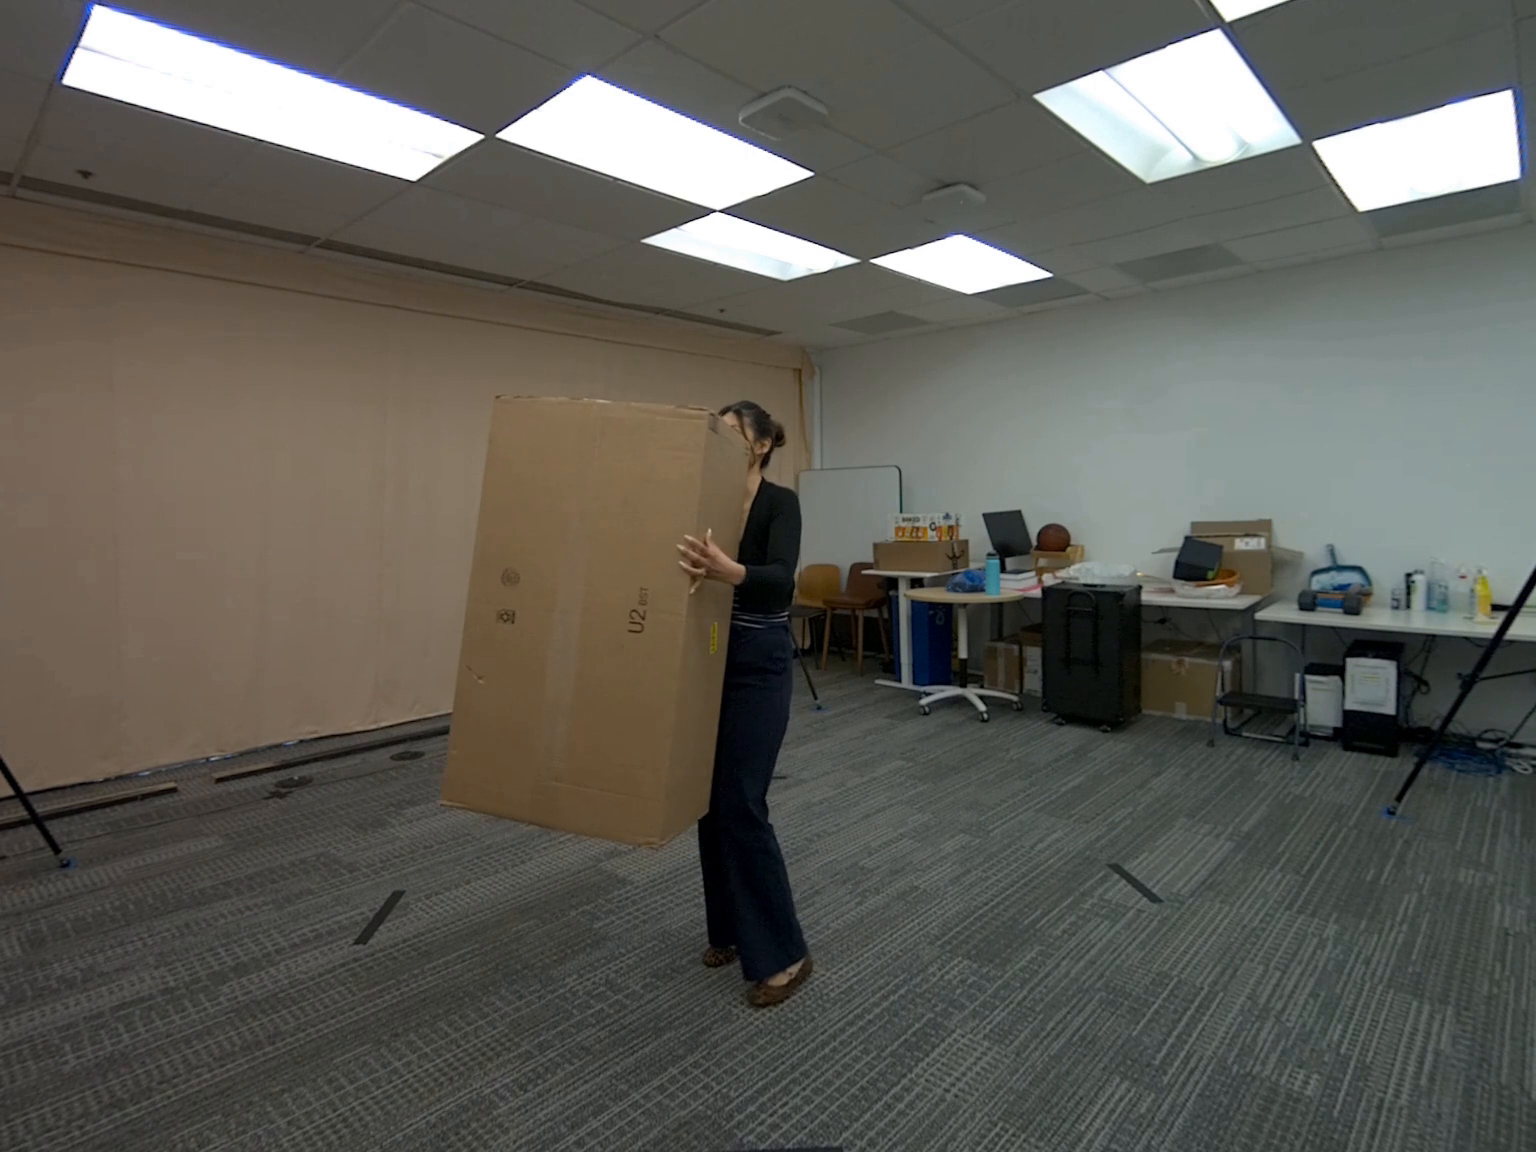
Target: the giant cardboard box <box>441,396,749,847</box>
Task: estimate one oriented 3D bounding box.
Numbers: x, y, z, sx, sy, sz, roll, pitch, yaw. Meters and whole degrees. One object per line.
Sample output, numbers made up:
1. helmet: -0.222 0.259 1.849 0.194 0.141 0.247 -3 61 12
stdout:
1. giant cardboard box: -0.420 0.098 2.204 0.588 1.027 0.418 6 -3 15
